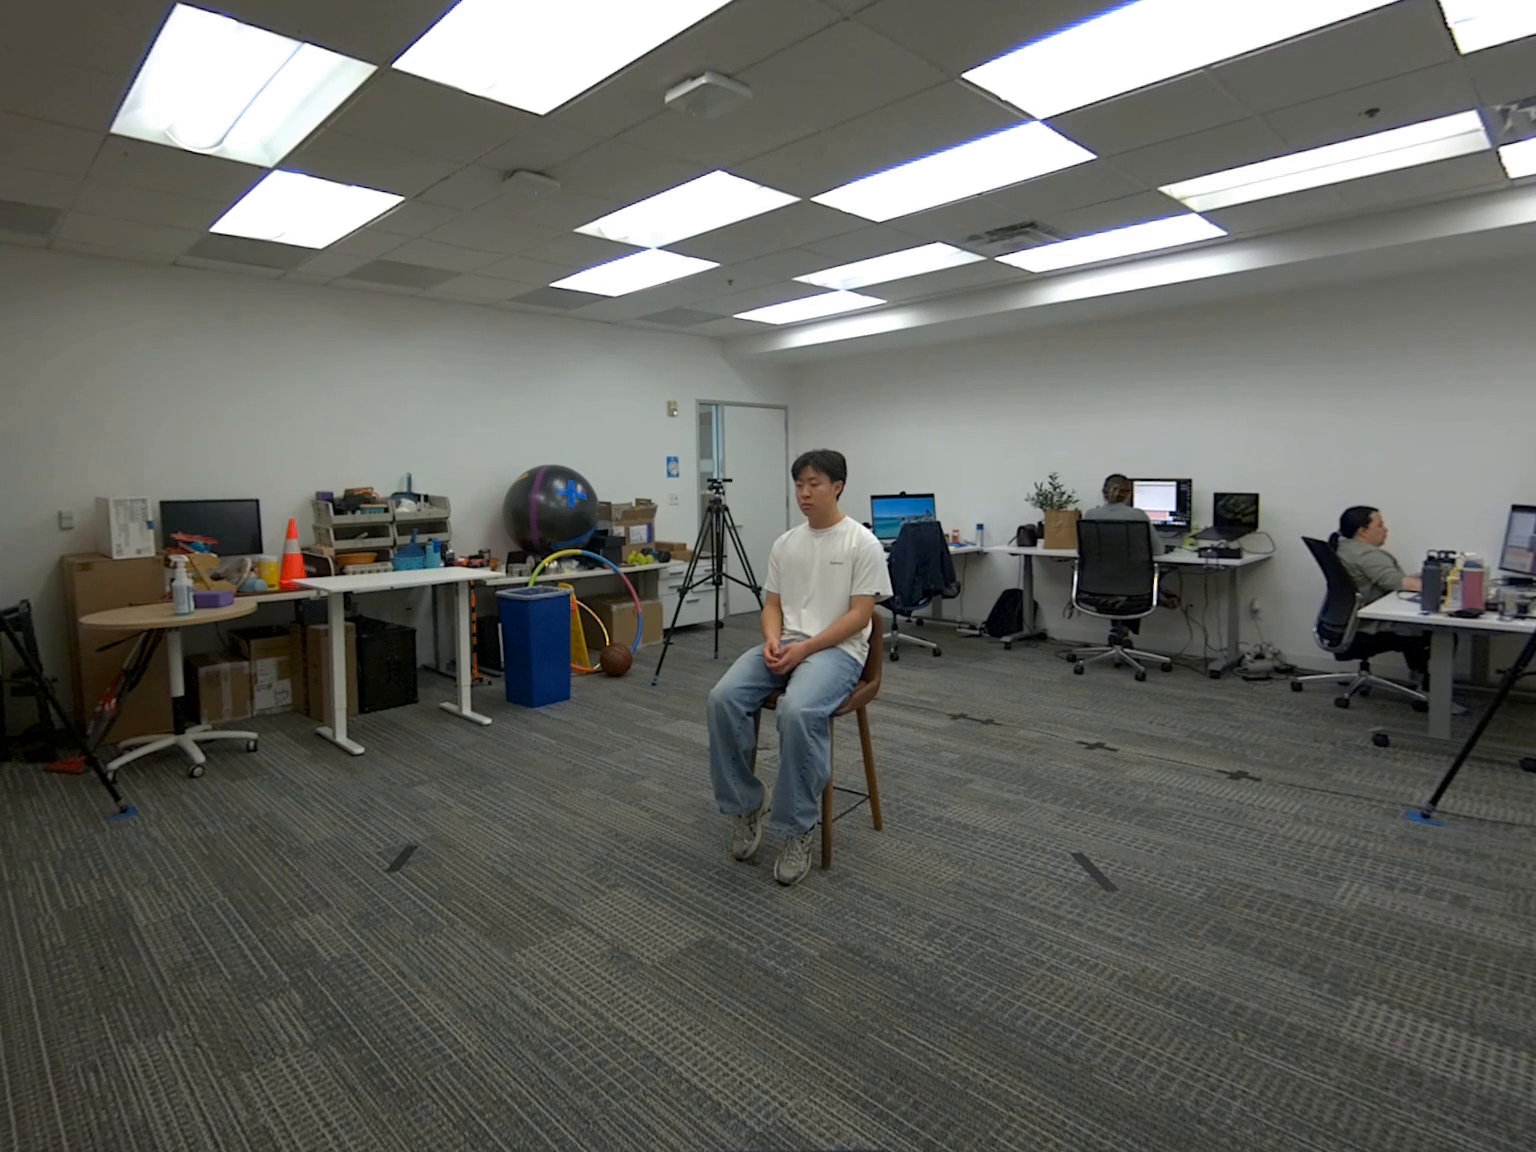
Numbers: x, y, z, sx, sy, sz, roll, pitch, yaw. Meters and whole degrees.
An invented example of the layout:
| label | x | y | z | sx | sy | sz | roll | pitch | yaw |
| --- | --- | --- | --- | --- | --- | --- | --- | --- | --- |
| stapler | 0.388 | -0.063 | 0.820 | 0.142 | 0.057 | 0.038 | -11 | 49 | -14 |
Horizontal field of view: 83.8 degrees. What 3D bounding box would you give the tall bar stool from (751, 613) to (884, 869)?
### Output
| label | x | y | z | sx | sy | sz | roll | pitch | yaw |
| --- | --- | --- | --- | --- | --- | --- | --- | --- | --- |
| tall bar stool | 0.186 | 0.581 | 3.325 | 0.470 | 0.888 | 0.455 | 4 | 3 | 36 |
